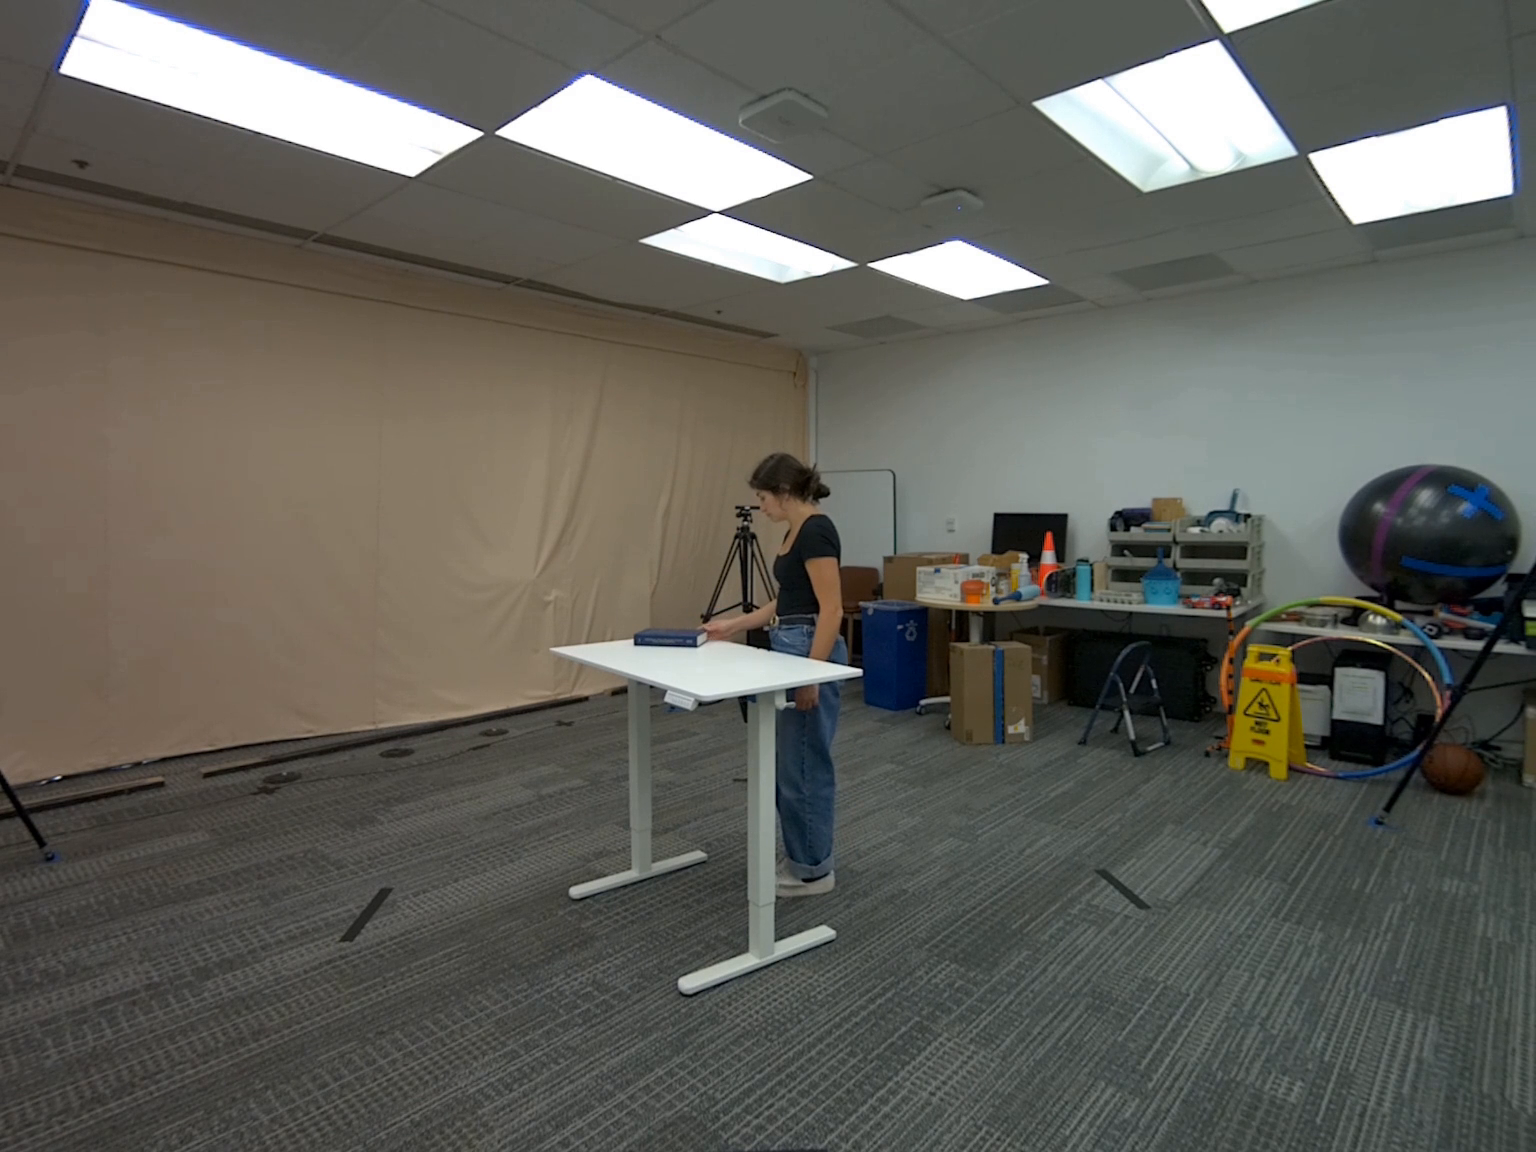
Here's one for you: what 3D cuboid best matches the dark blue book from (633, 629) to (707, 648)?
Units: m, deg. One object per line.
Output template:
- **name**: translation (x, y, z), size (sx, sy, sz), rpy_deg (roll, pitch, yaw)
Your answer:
- **dark blue book**: translation (-0.362, 0.238, 3.143), size (0.248, 0.045, 0.161), rpy_deg (0, 2, 12)
